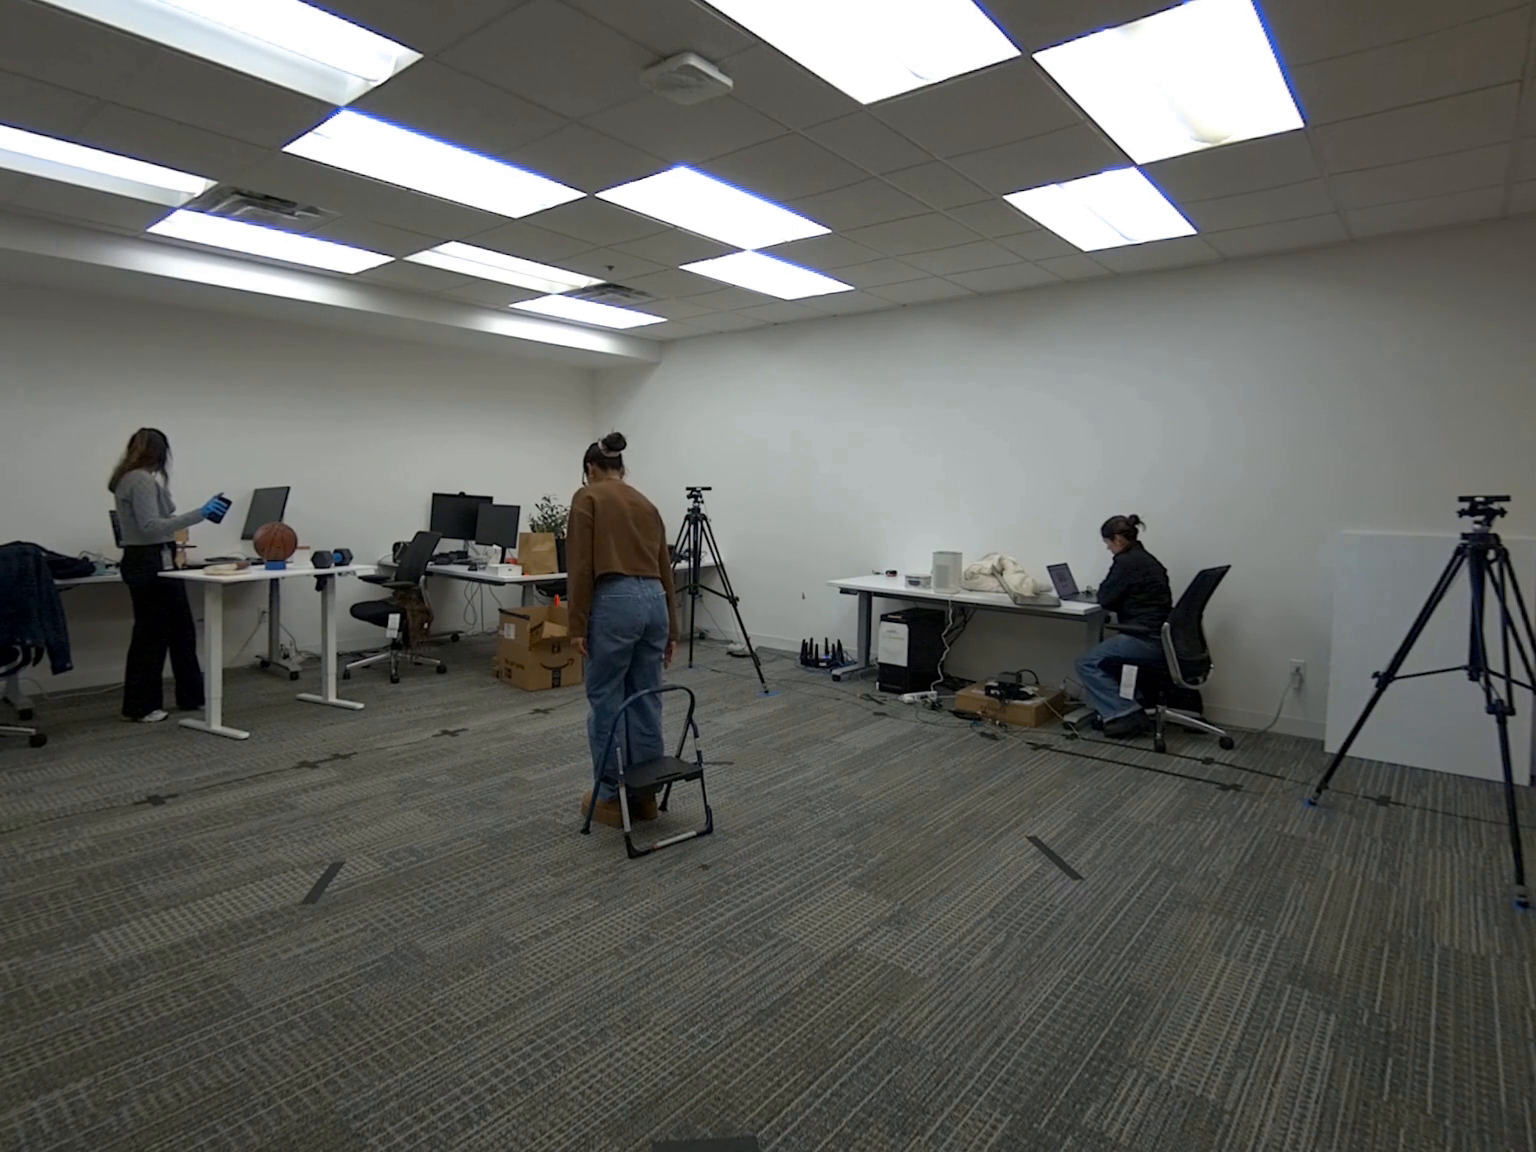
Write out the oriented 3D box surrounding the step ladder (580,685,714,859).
[{"bbox_3d":[-0.486,0.728,3.411,0.417,0.604,0.361,-2,5,-44],"label":"step ladder"}]
